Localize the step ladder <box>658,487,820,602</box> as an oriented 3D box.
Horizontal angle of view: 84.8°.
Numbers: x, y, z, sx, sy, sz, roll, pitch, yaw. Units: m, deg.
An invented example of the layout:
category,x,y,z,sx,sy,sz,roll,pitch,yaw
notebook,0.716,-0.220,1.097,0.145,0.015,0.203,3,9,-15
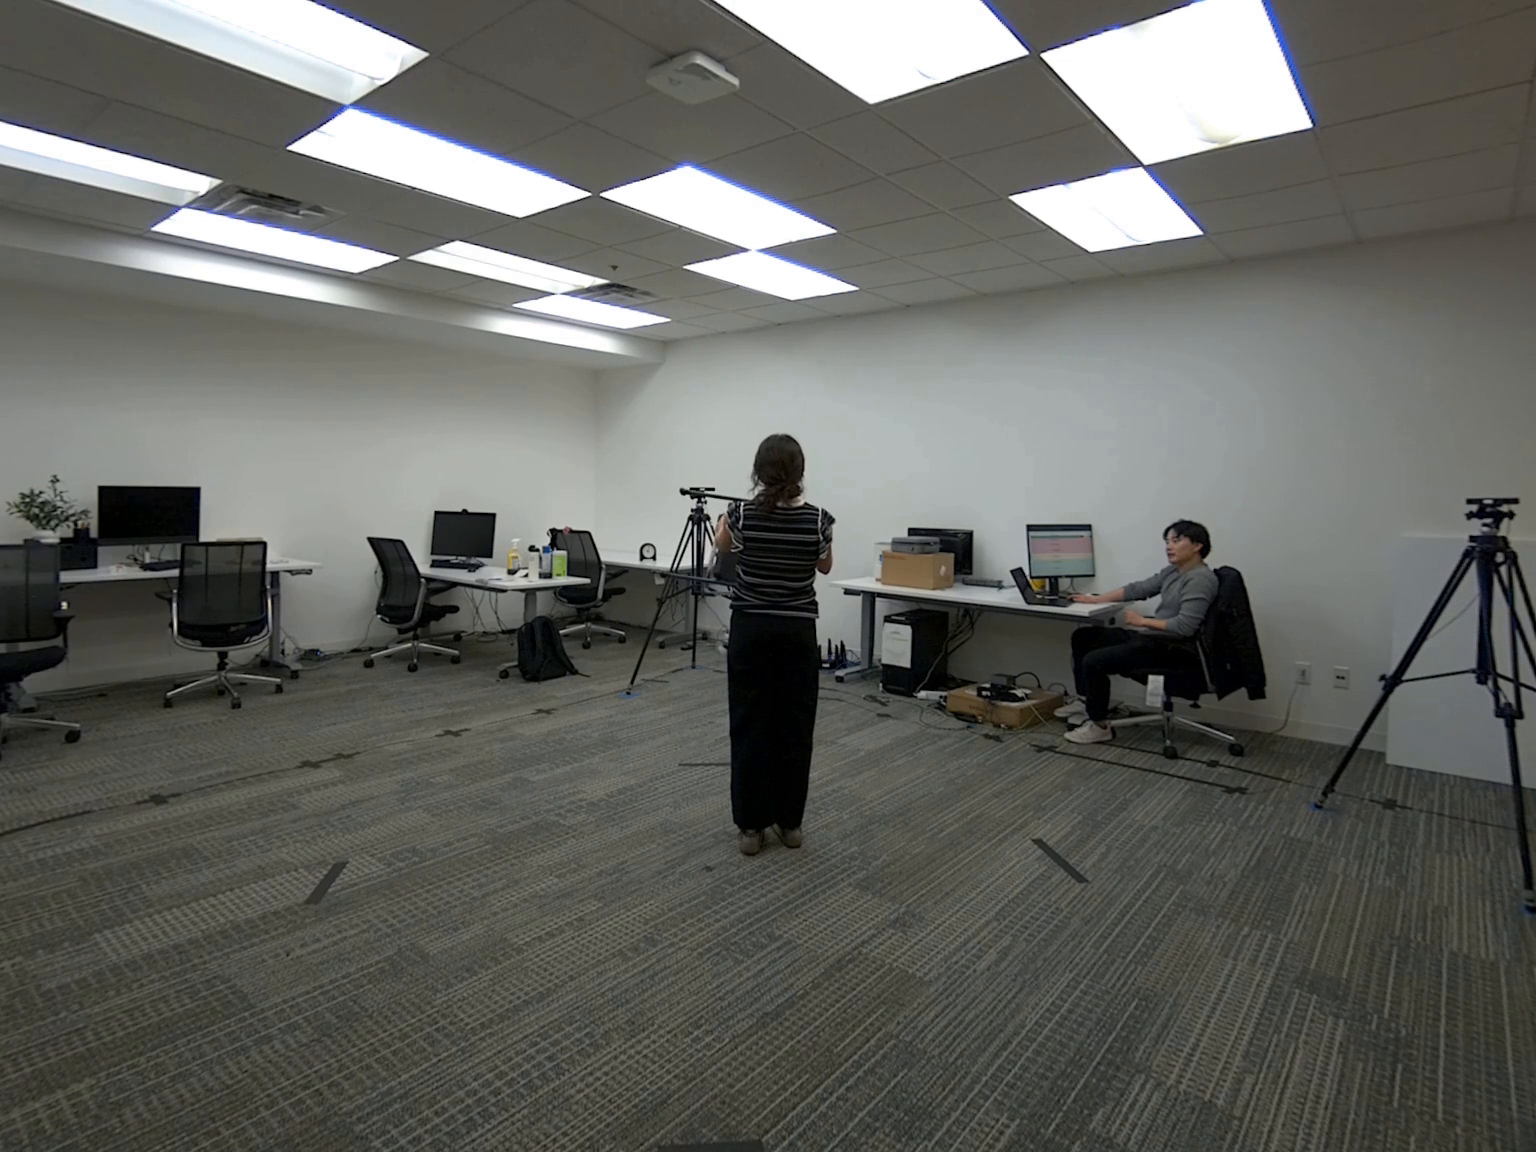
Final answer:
category,x,y,z,sx,sy,sz,roll,pitch,yaw
step ladder,-0.105,-0.132,3.785,0.625,0.435,0.335,4,-17,33
